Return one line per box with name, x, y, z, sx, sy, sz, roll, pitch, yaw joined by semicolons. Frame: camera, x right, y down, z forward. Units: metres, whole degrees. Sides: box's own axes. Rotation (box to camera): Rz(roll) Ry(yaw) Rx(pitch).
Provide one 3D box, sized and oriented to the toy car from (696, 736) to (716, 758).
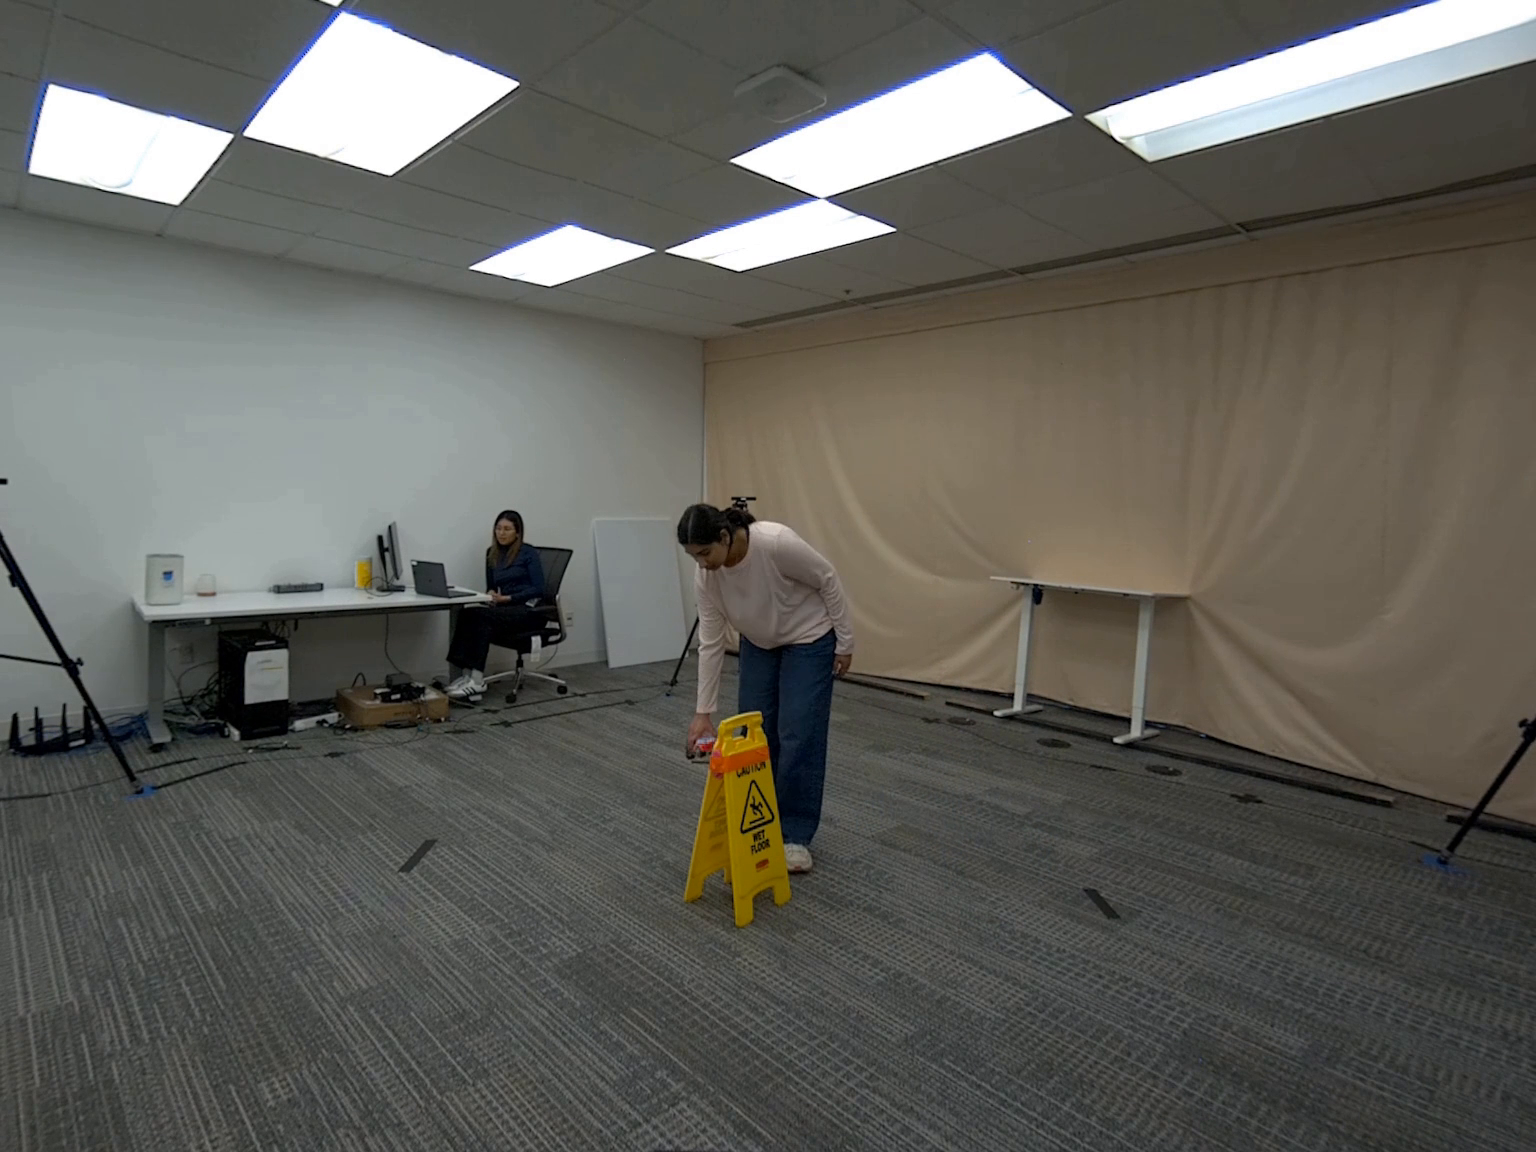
toy car;-0.260;0.669;3.258;0.128;0.083;0.258;-10;2;-23
